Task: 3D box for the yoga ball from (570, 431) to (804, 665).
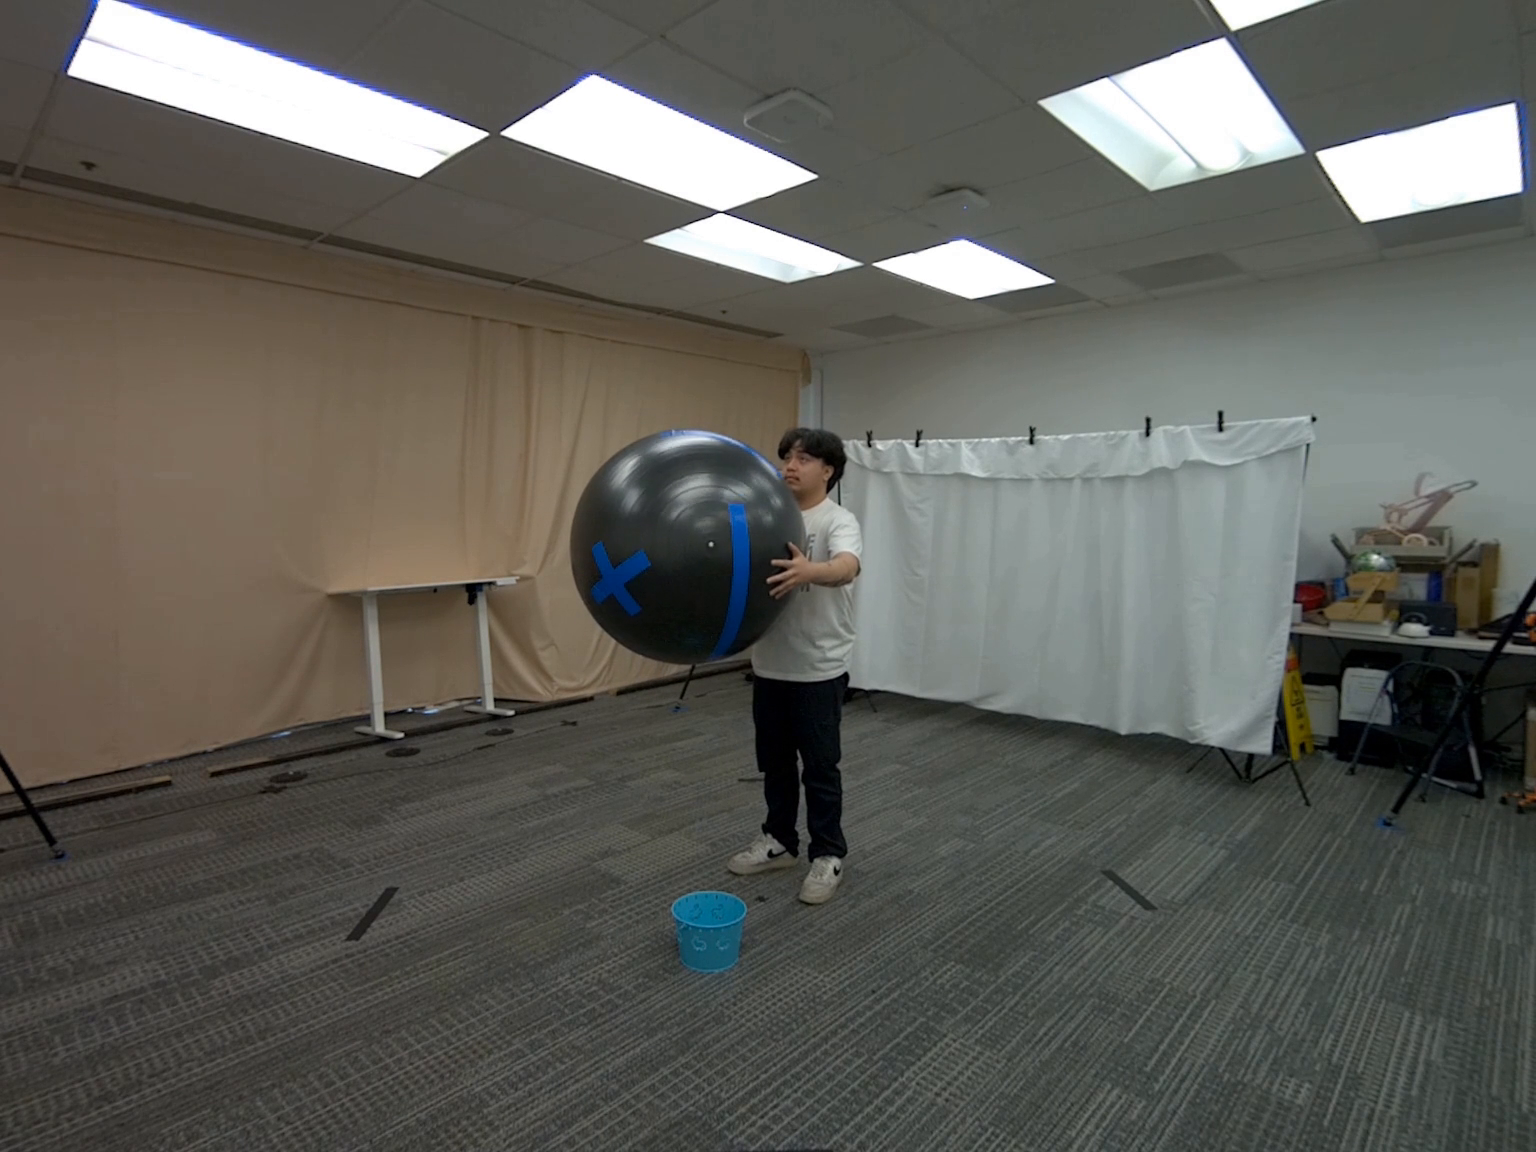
[{"bbox_3d":[-0.262,-0.085,2.718,0.757,0.756,0.760,0,4,-2],"label":"yoga ball"}]
